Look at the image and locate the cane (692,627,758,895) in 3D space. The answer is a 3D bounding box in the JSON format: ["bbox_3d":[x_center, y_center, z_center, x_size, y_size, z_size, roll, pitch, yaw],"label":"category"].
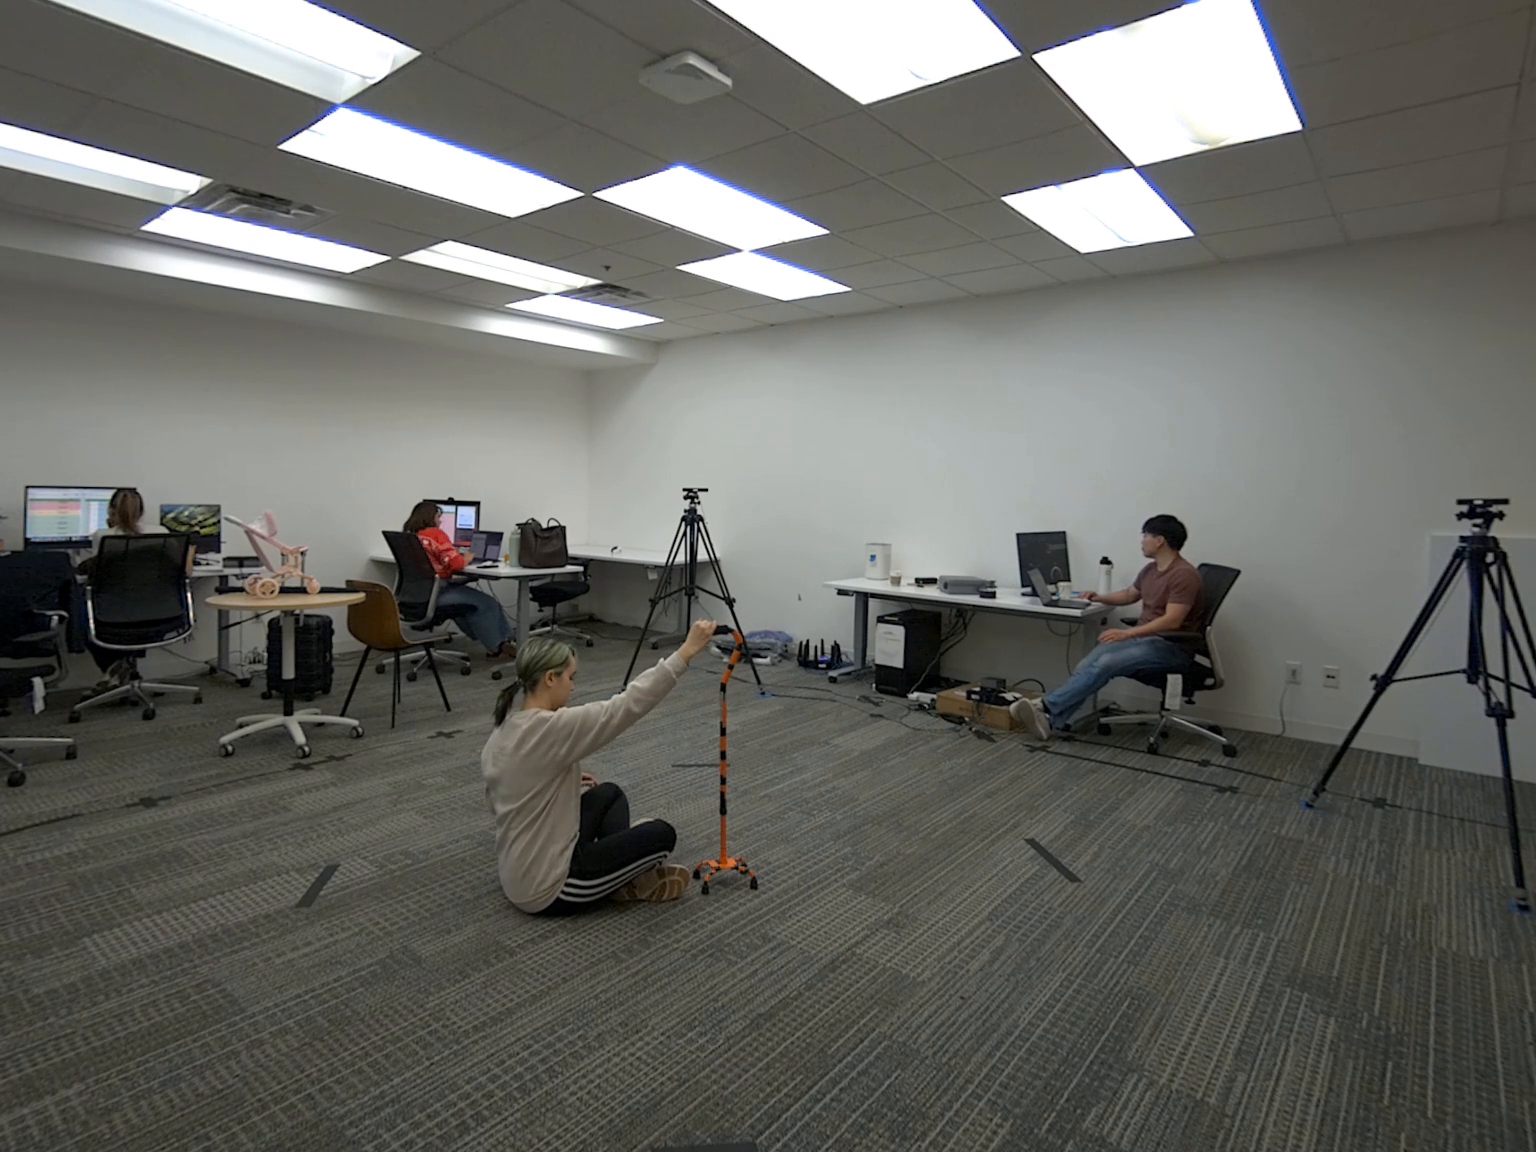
[{"bbox_3d":[-0.156,0.634,2.981,0.203,0.904,0.155,0,4,-16],"label":"cane"}]
